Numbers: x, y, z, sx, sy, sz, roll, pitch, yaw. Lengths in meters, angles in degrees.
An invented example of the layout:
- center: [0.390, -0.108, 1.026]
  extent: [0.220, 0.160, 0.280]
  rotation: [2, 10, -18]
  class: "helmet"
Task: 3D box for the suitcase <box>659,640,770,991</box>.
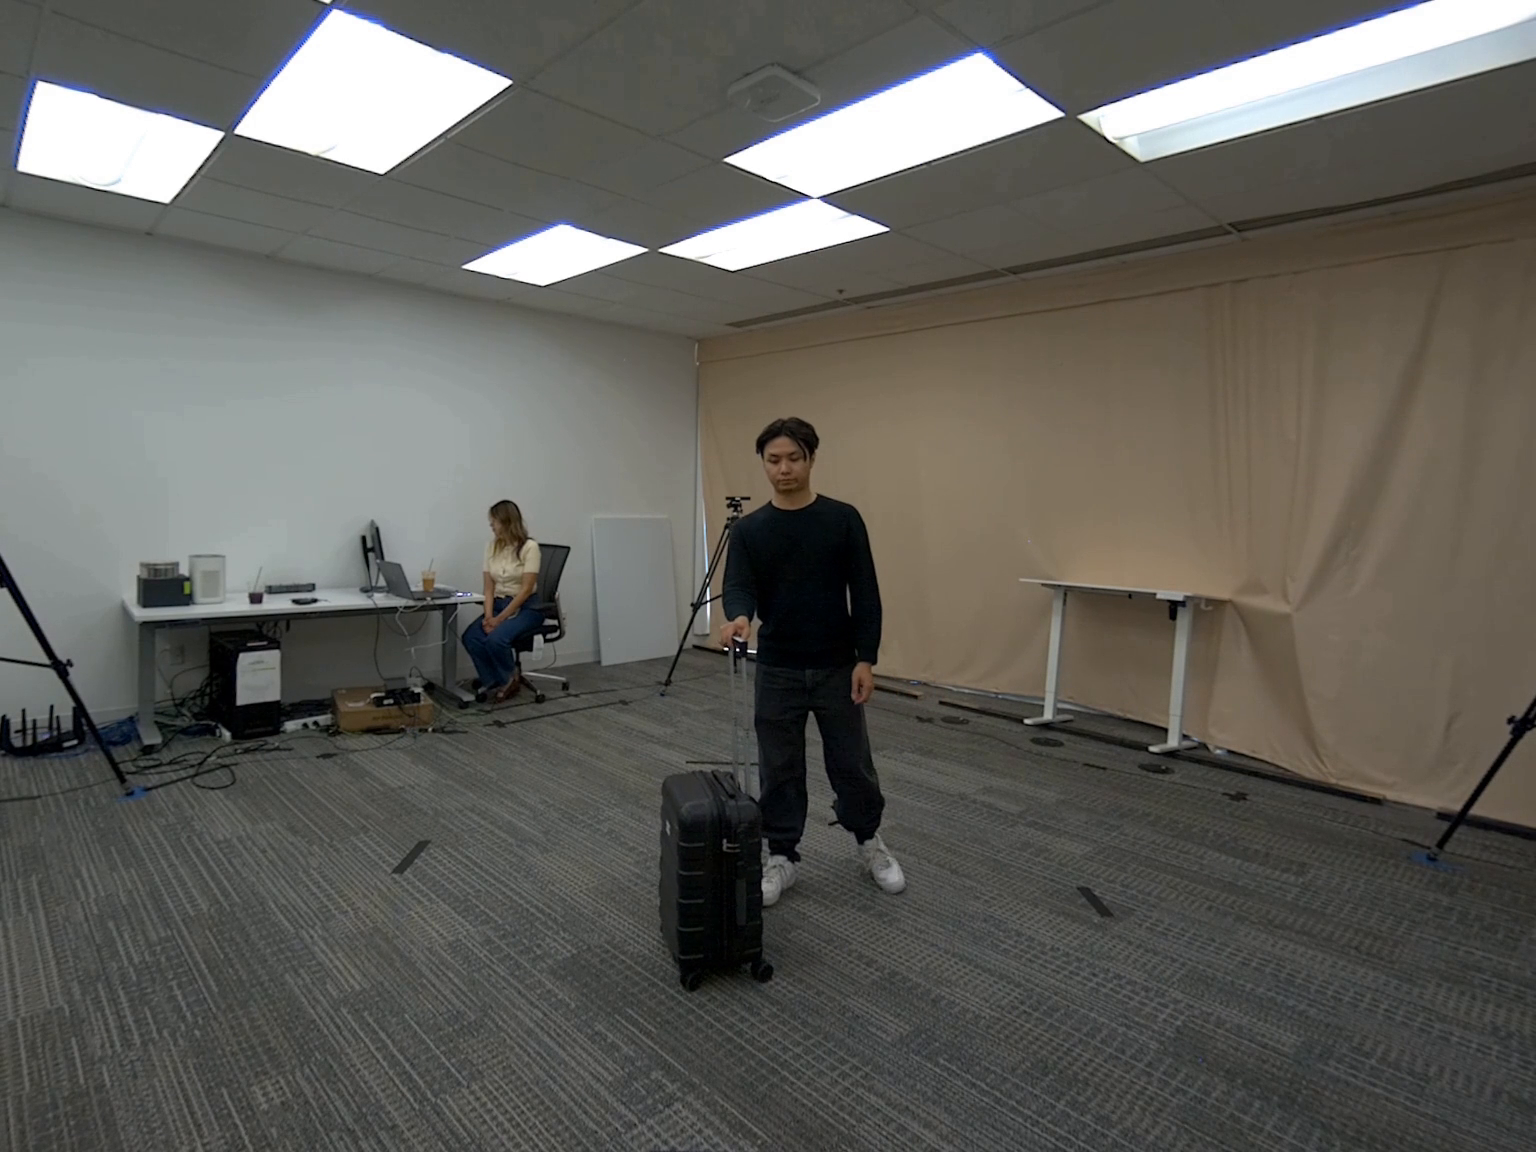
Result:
- center: [-0.188, 0.689, 2.505]
  extent: [0.255, 0.976, 0.389]
  rotation: [-1, 4, -13]
  class: "suitcase"
